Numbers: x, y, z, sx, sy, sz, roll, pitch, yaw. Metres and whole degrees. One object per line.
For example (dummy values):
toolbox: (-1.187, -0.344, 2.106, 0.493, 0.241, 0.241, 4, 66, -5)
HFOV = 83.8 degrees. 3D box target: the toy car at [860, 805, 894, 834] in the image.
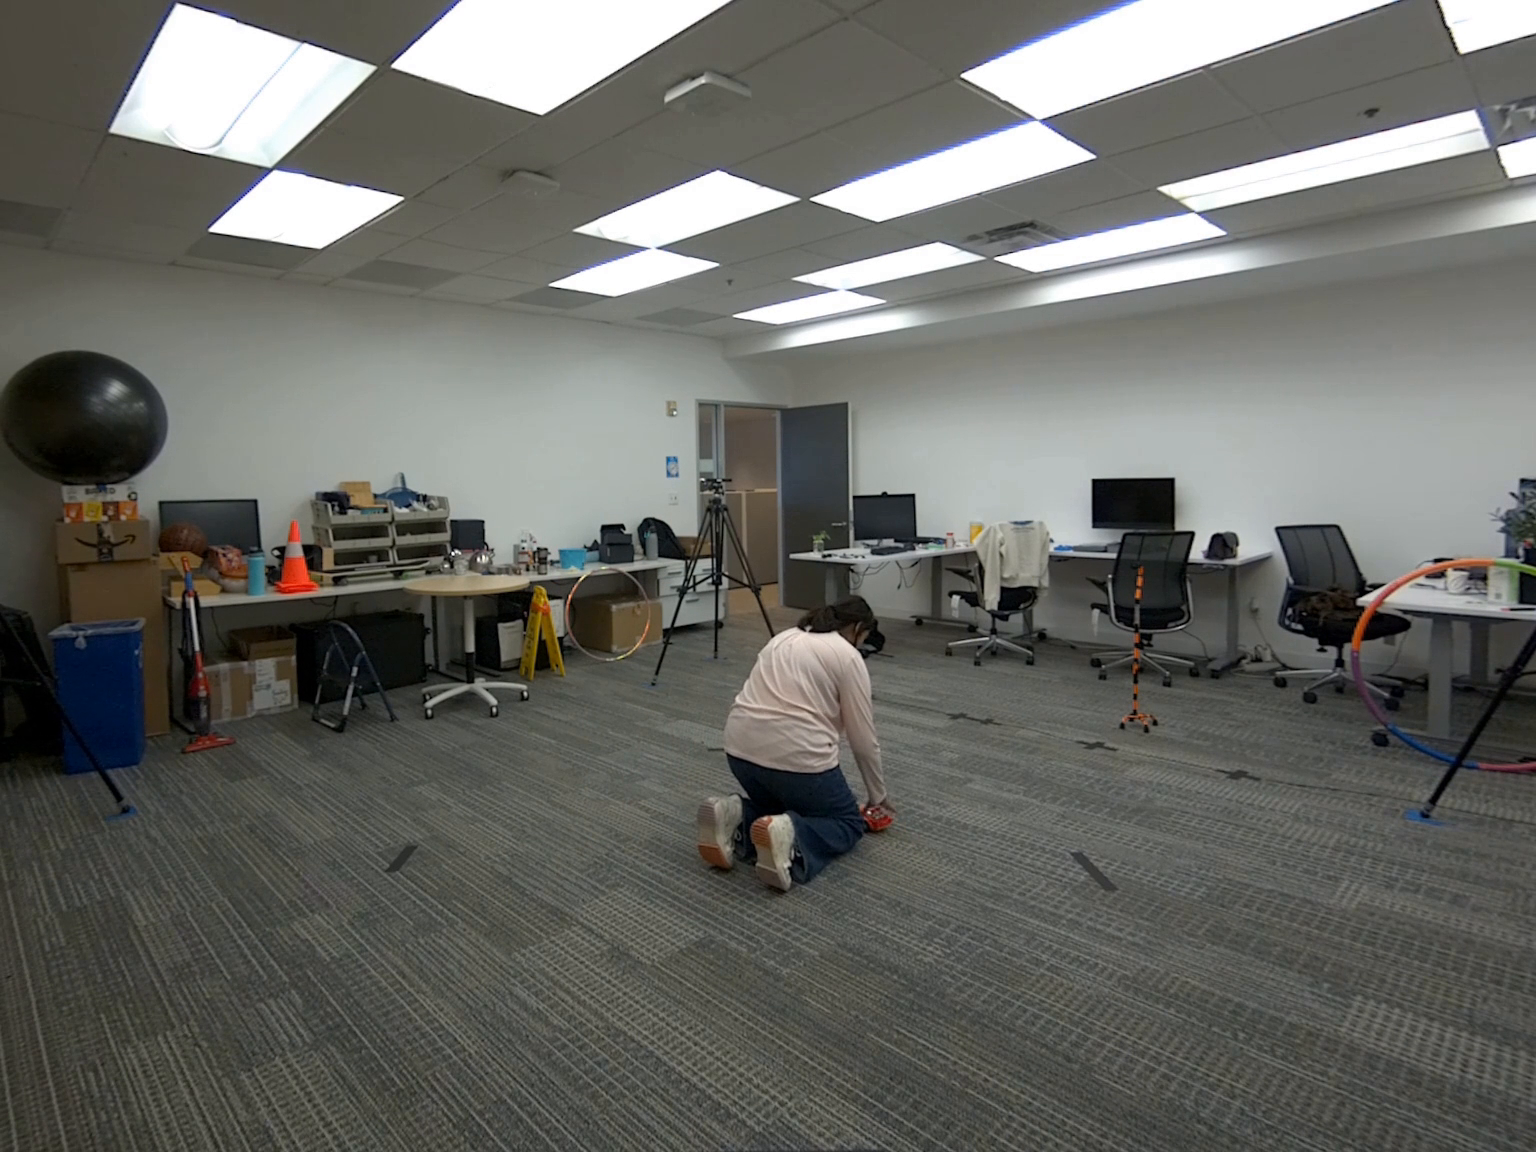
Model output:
toy car: (0.380, 0.965, 3.425, 0.127, 0.083, 0.260, -3, -4, -41)
